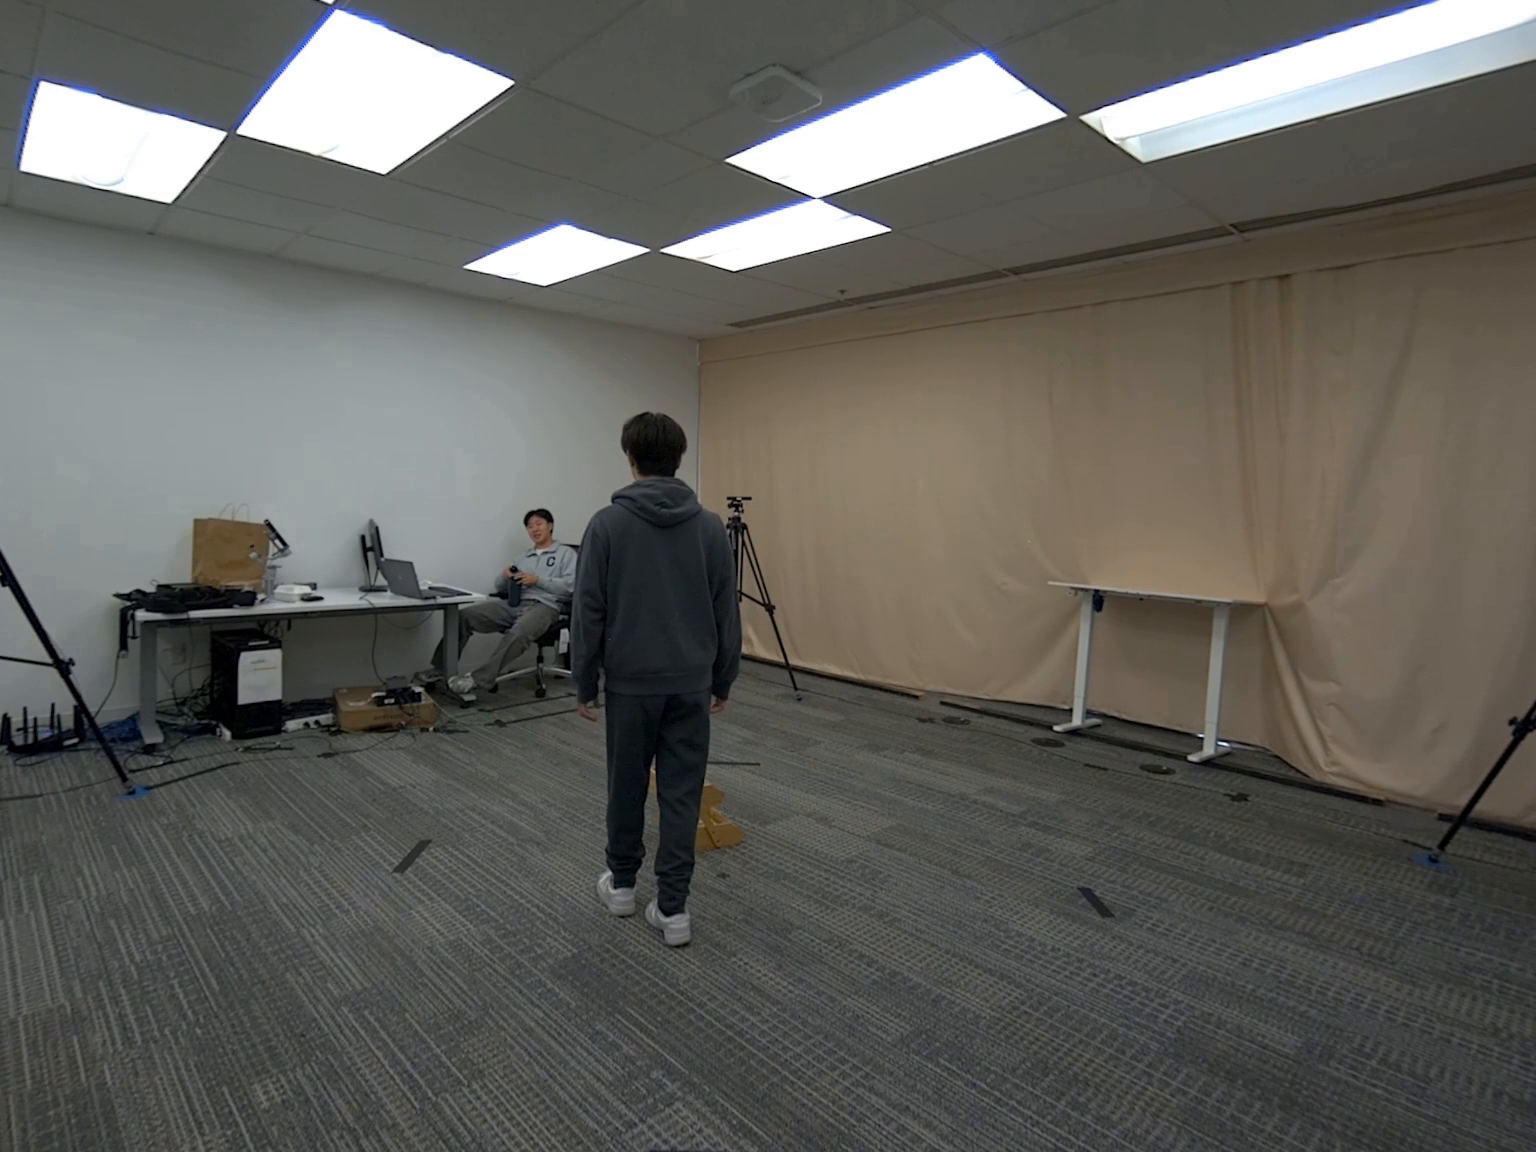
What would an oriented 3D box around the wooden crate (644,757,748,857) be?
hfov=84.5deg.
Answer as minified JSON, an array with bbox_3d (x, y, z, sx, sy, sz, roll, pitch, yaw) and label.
[{"bbox_3d":[-0.302,0.939,3.463,0.296,0.272,0.332,-1,5,-30],"label":"wooden crate"}]
